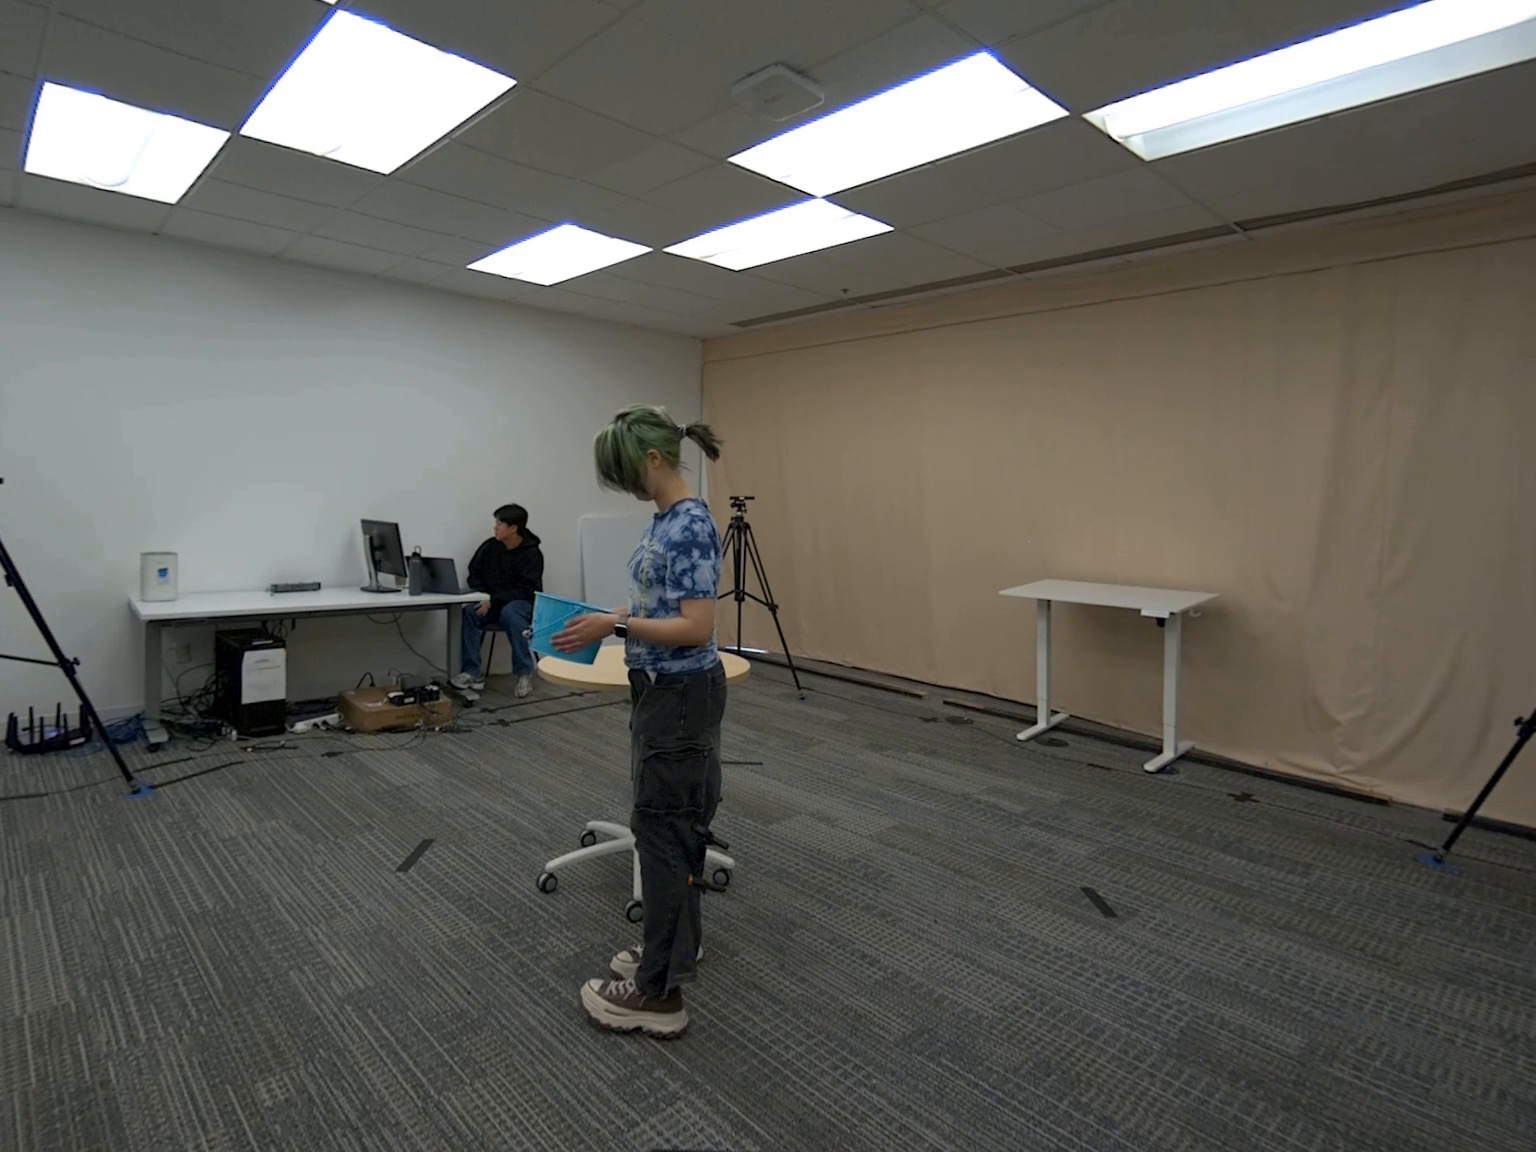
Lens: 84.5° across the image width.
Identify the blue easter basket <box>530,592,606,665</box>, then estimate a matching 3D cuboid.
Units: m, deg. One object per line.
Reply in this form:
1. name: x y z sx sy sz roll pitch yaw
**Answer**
1. blue easter basket: -0.553 0.156 2.287 0.243 0.156 0.243 14 -1 -1
